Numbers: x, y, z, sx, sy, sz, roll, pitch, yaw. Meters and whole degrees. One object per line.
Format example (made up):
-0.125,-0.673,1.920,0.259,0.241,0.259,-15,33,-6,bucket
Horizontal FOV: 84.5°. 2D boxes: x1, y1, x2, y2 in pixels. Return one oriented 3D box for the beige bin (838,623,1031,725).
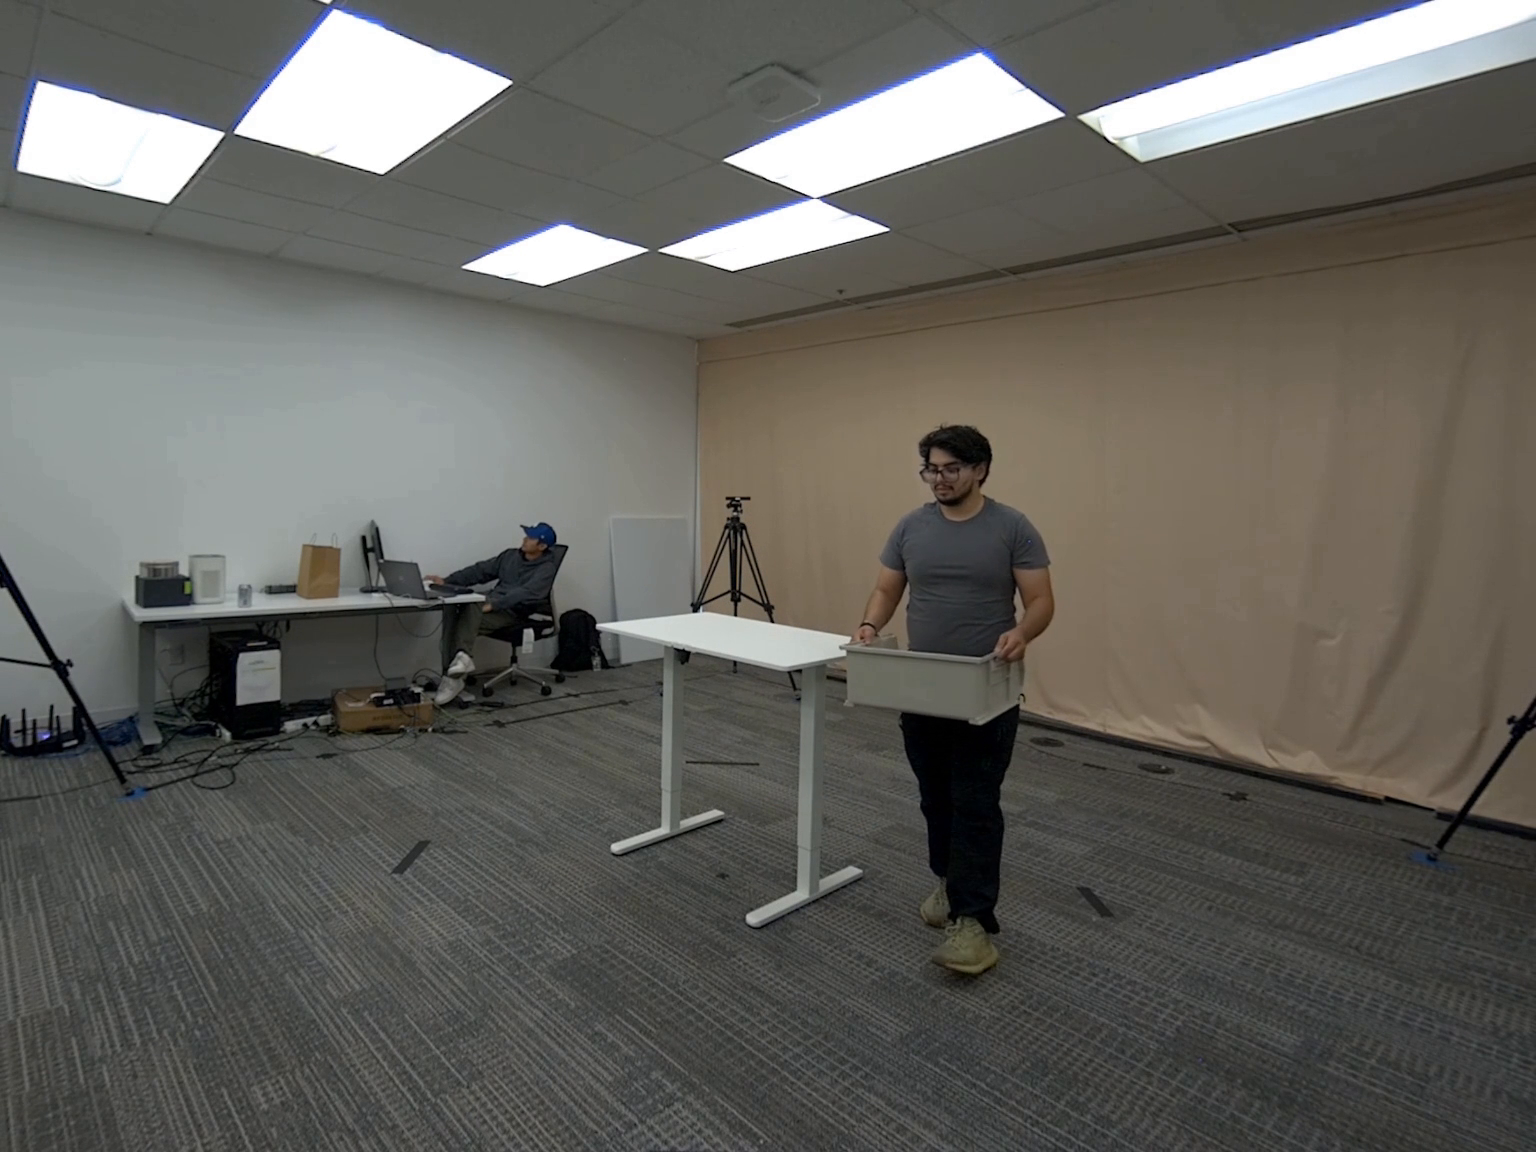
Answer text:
0.483,0.278,2.456,0.433,0.188,0.370,5,7,36,beige bin
